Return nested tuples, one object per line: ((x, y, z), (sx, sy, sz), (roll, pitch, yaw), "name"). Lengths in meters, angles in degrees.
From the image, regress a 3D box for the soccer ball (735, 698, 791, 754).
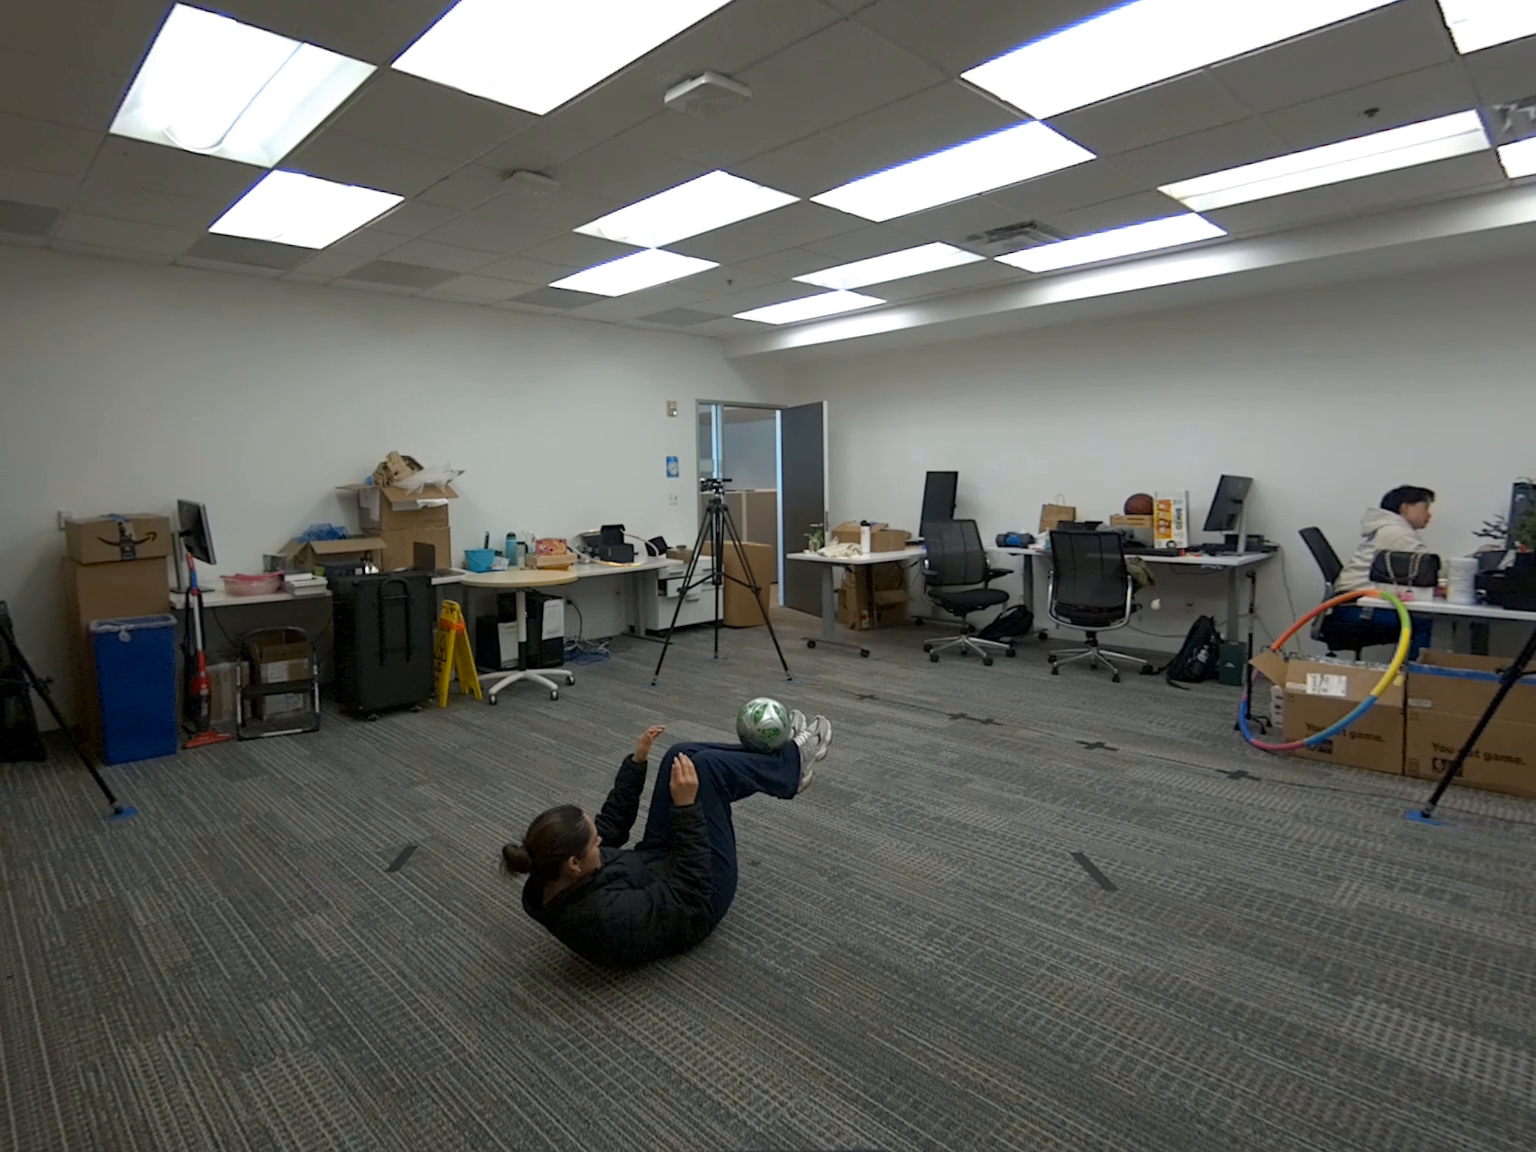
((-0.010, 0.500, 2.876), (0.187, 0.187, 0.188), (0, 1, -2), "soccer ball")
